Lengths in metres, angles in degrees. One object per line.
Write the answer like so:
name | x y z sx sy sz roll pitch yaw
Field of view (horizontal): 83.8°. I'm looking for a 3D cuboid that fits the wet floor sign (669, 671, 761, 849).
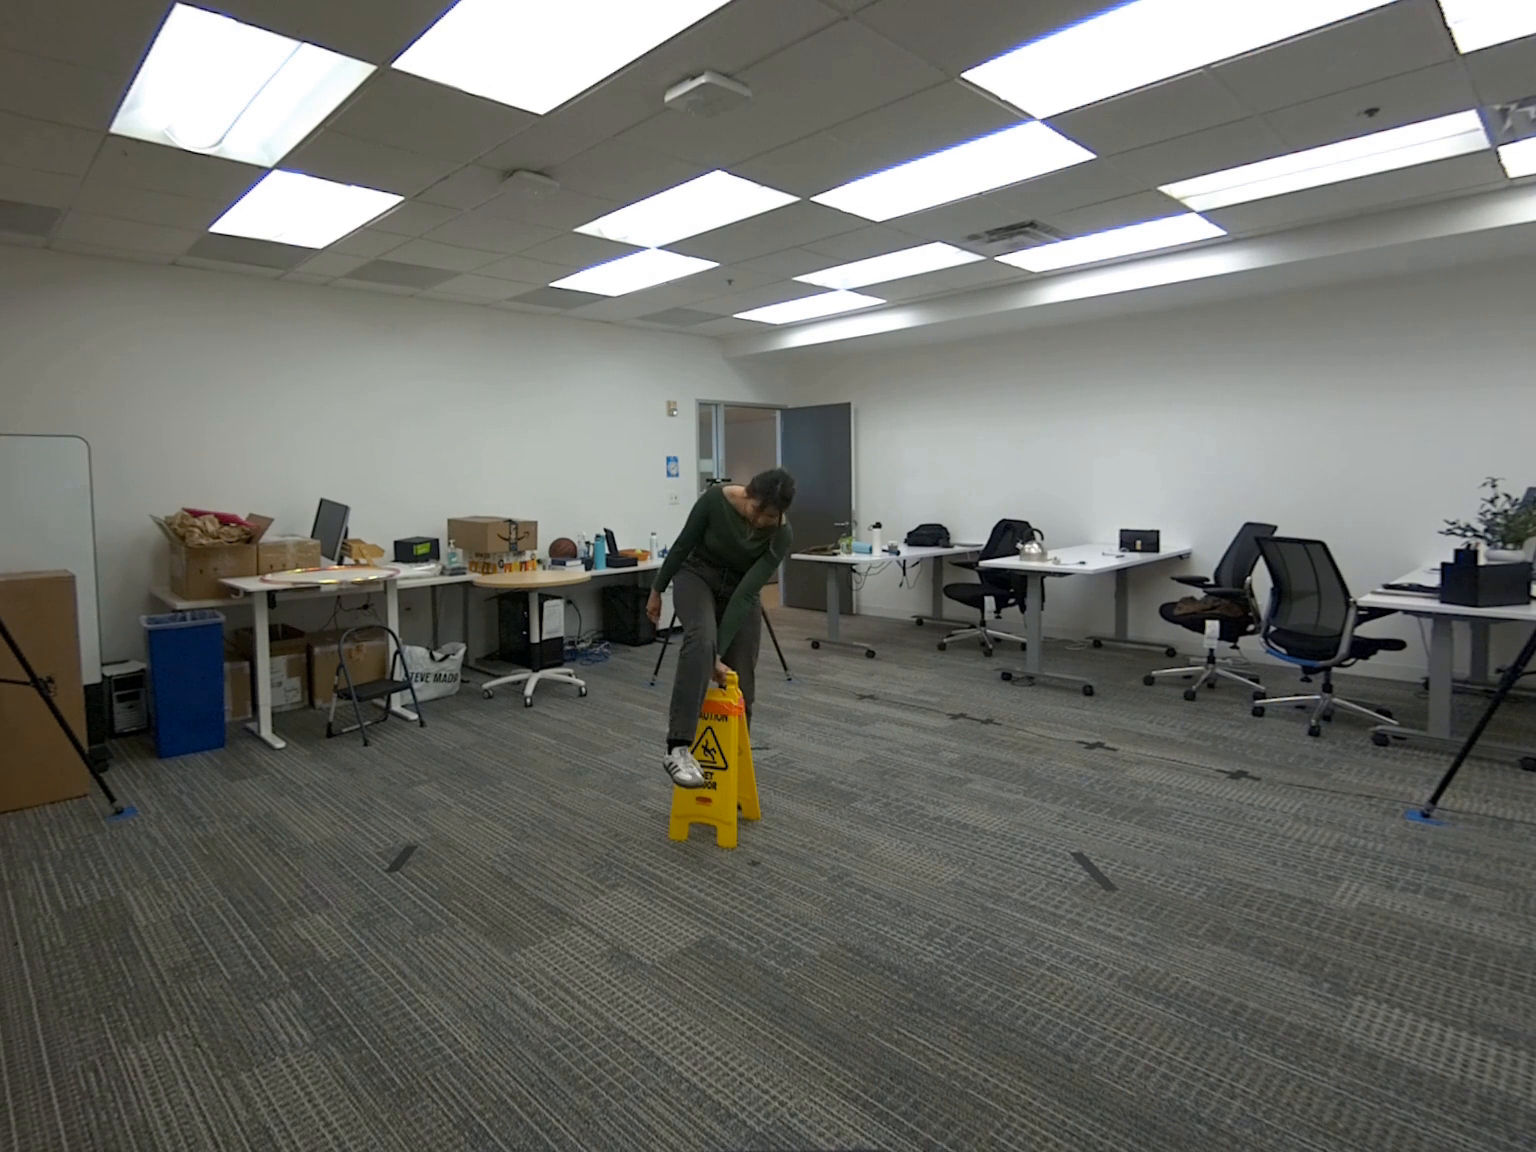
wet floor sign | -0.215 0.689 3.397 0.287 0.644 0.285 1 4 19
